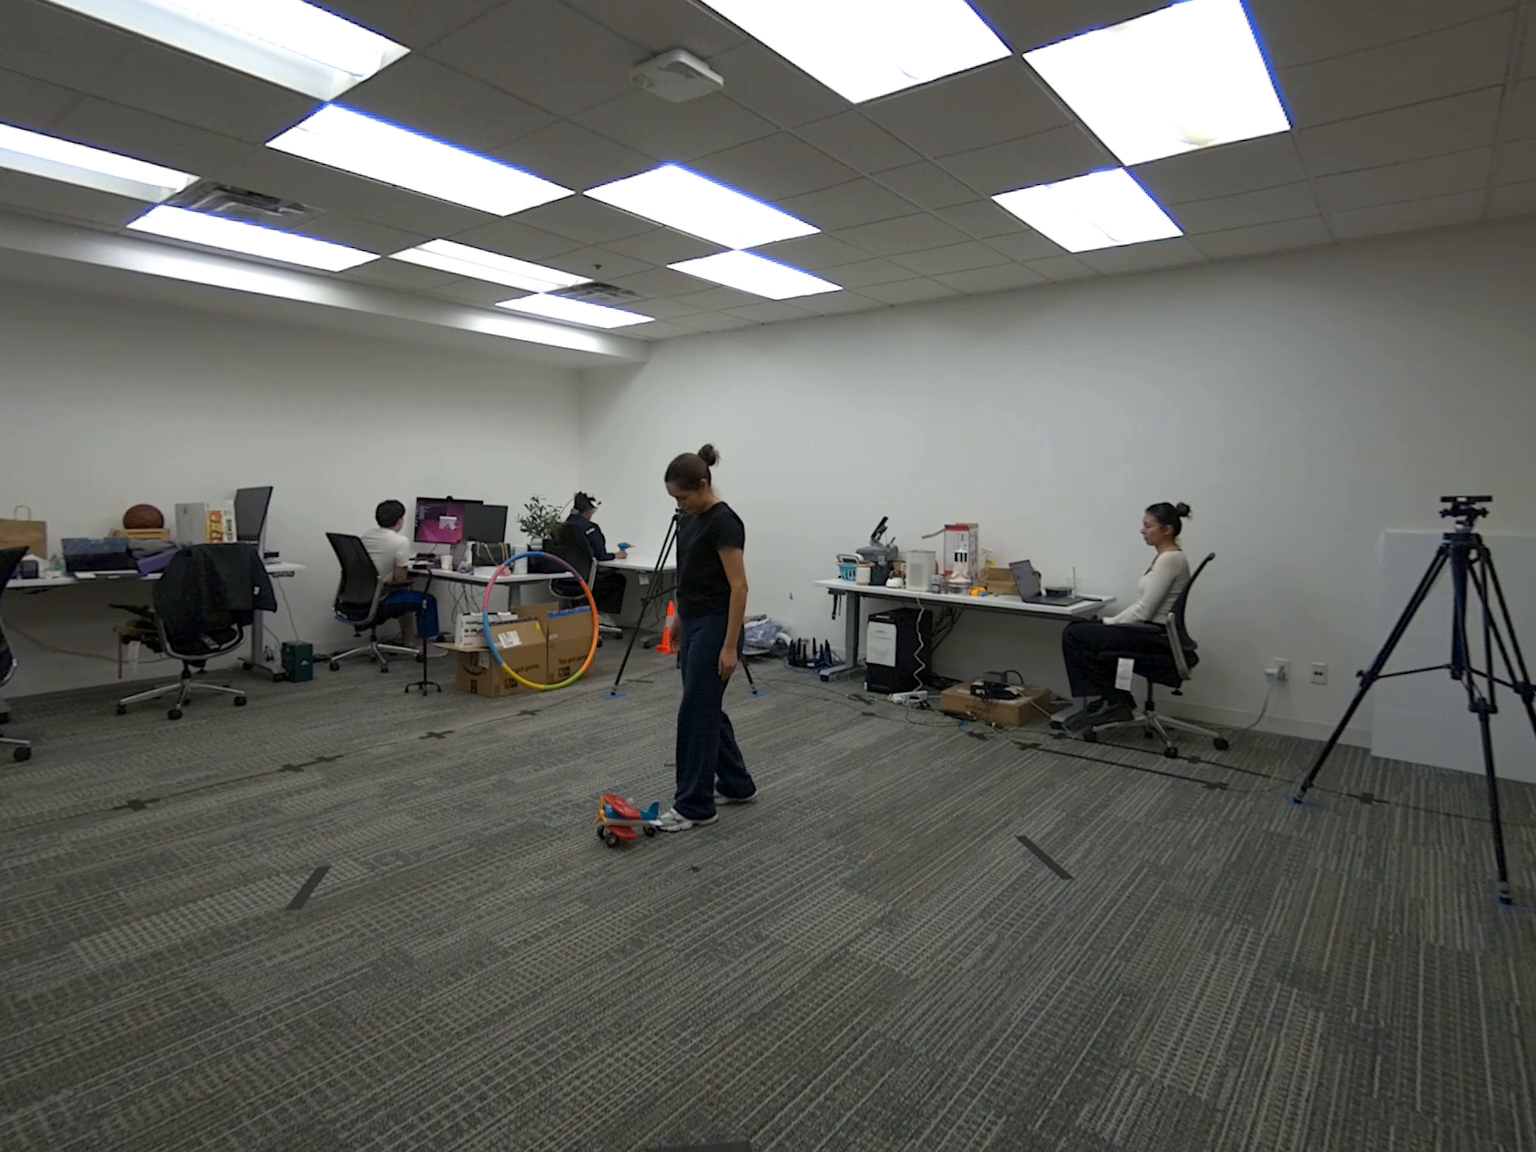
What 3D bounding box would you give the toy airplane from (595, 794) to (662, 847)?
[{"bbox_3d":[-0.552,0.959,3.395,0.259,0.156,0.252,3,6,33],"label":"toy airplane"}]
